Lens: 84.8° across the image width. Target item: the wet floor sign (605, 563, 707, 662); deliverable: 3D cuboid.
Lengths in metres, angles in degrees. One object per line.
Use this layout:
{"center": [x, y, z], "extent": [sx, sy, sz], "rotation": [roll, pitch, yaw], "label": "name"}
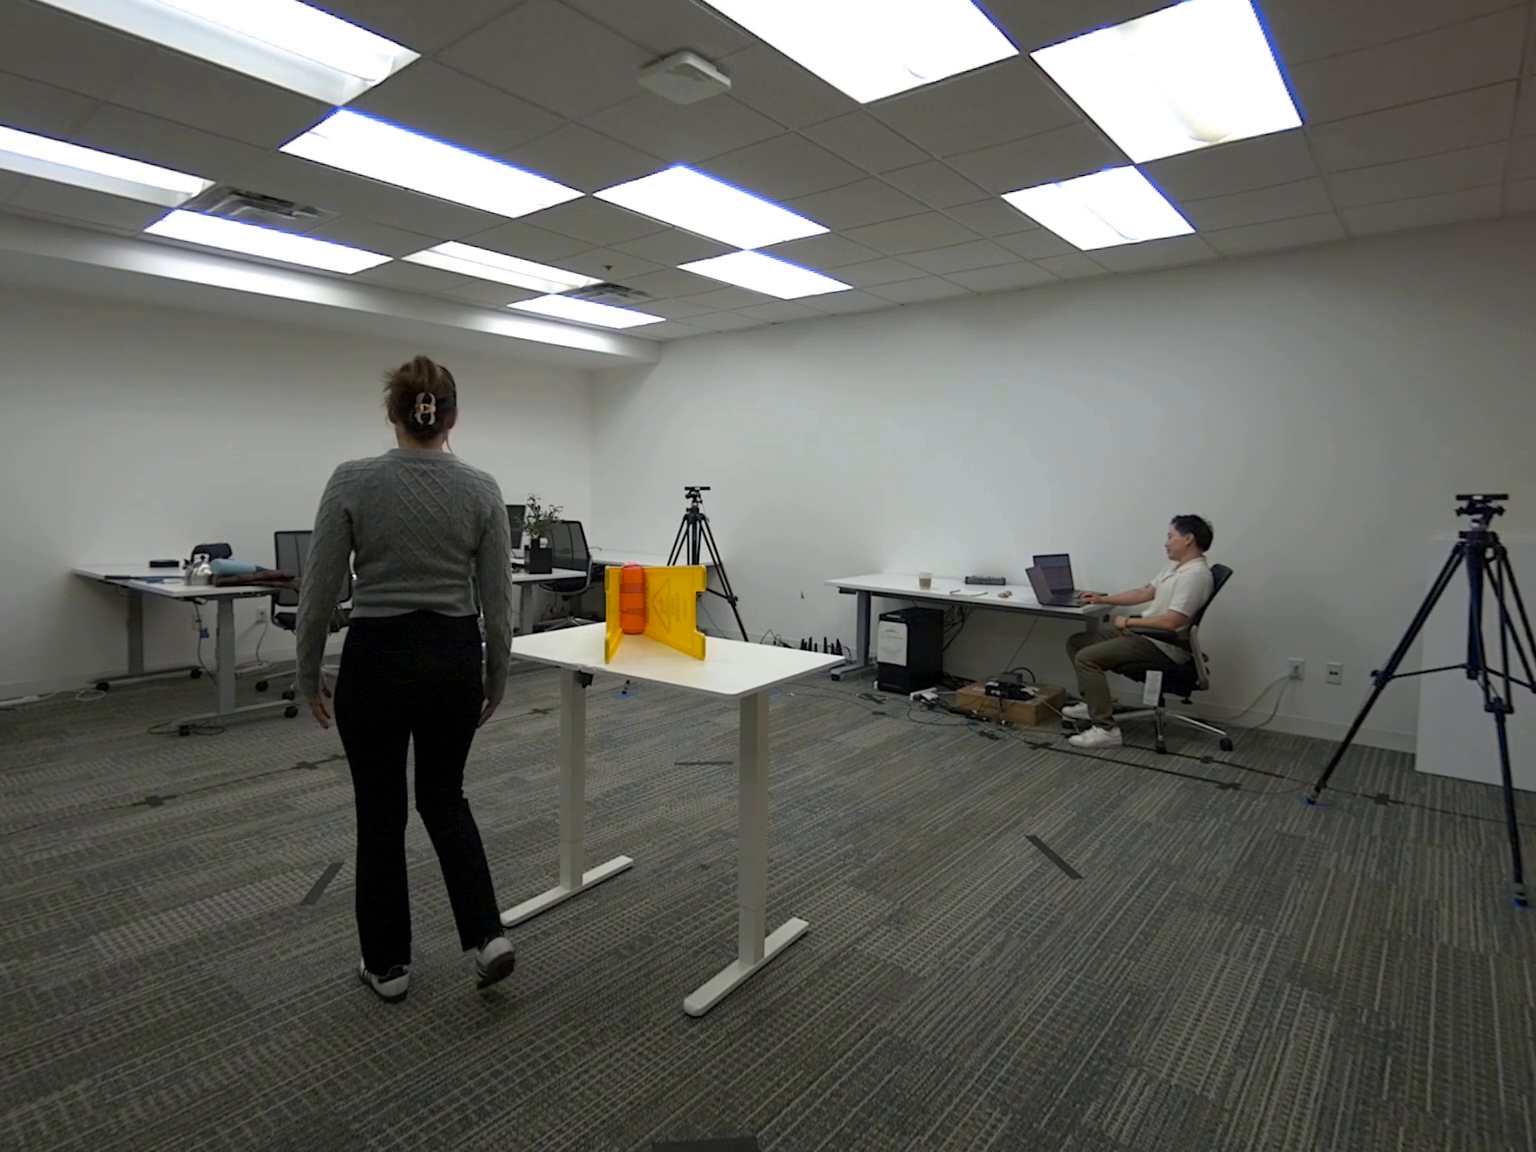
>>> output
{"center": [-0.430, 0.091, 2.777], "extent": [0.285, 0.282, 0.657], "rotation": [0, 2, -17], "label": "wet floor sign"}
